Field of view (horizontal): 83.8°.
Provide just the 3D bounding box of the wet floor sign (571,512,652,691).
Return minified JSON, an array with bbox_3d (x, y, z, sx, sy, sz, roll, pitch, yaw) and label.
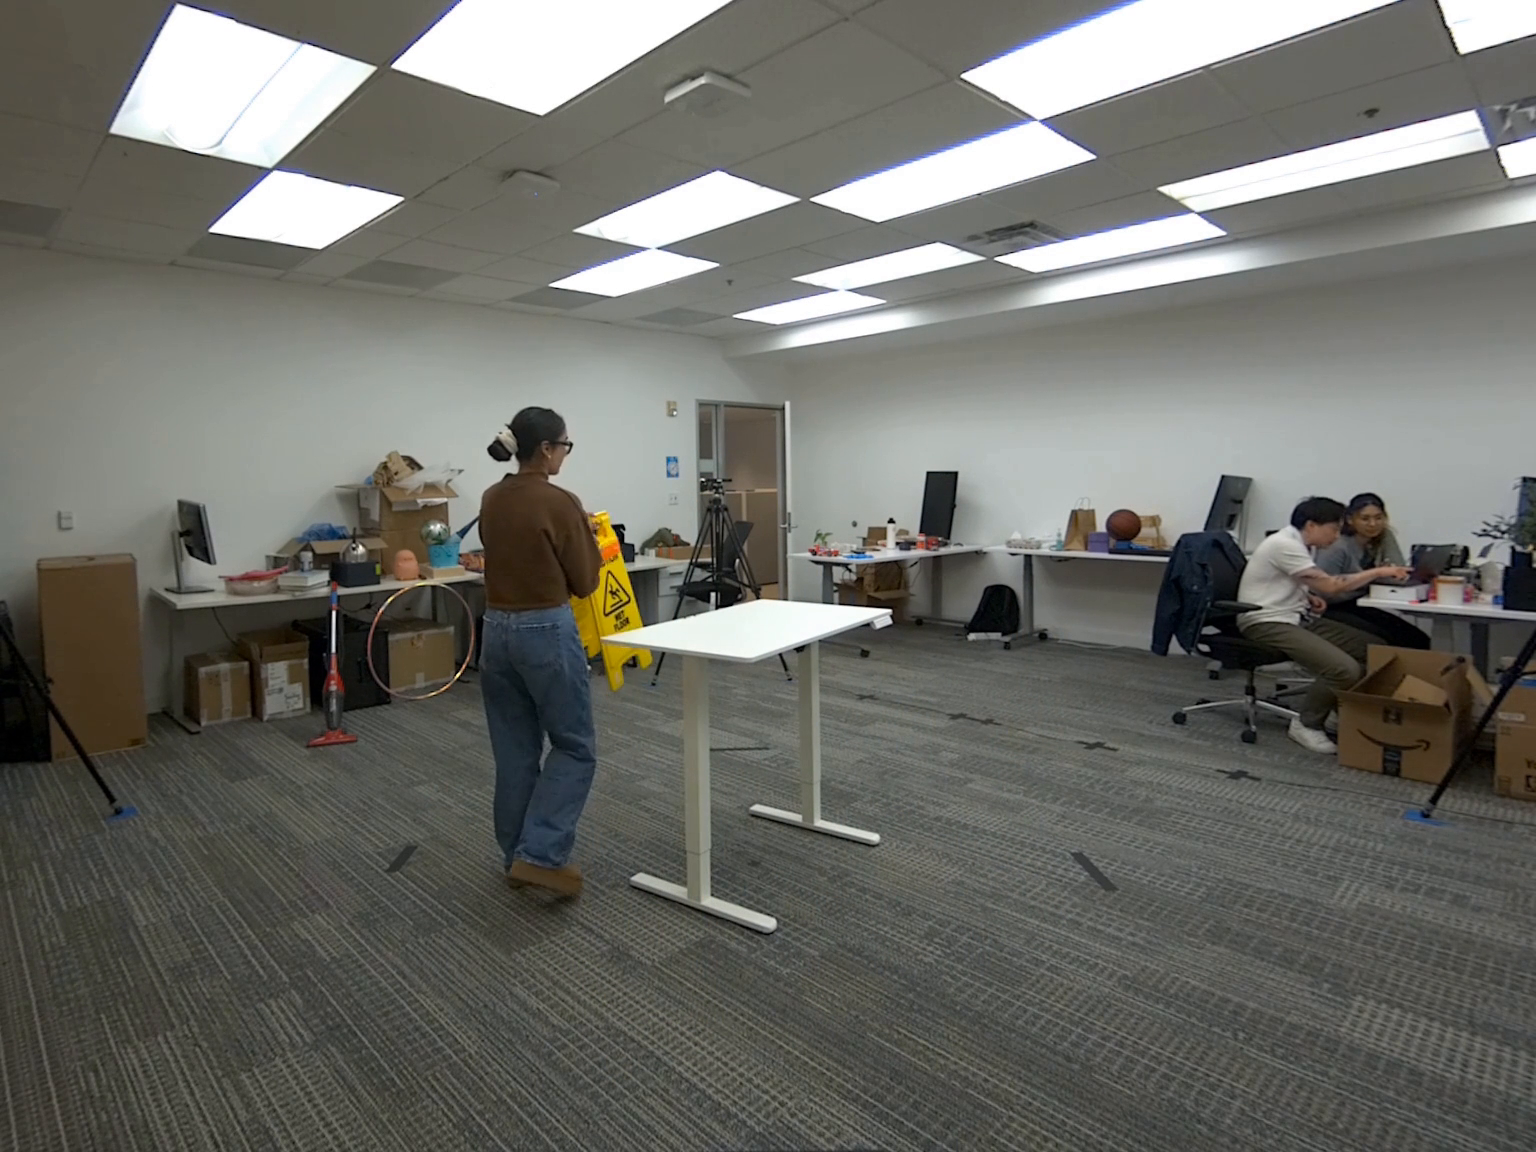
[{"bbox_3d":[-0.666,0.074,3.340,0.297,0.636,0.279,6,18,25],"label":"wet floor sign"}]
